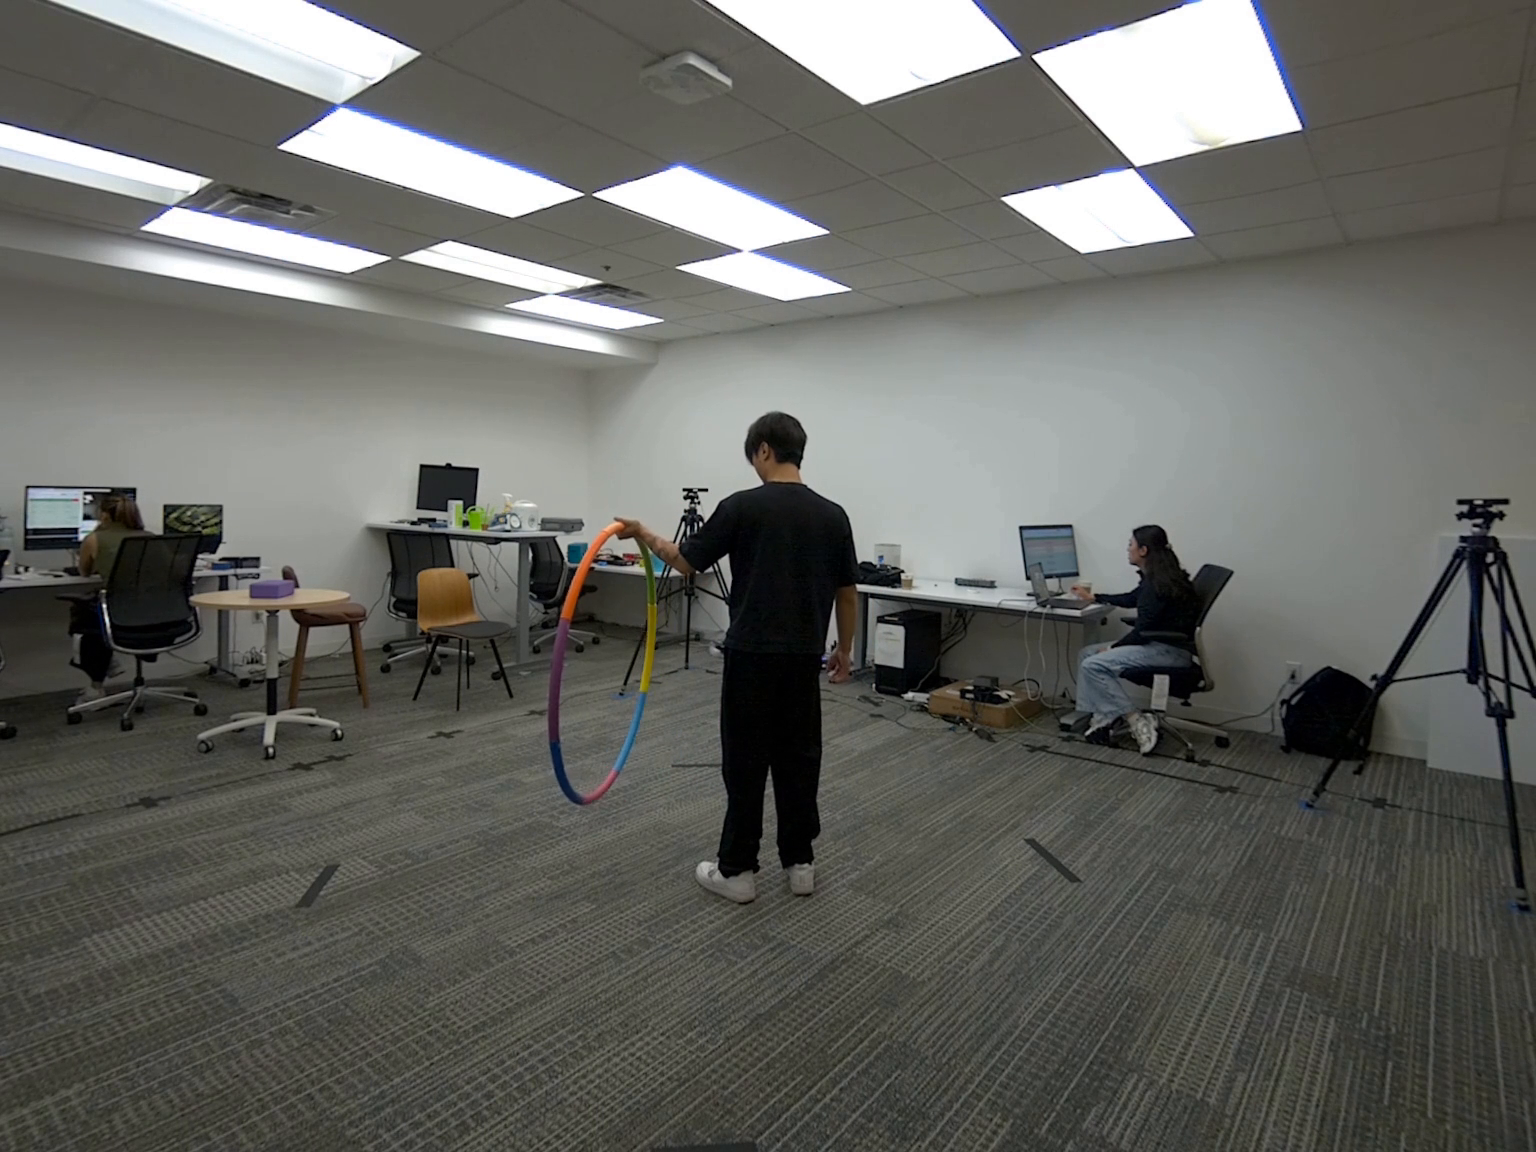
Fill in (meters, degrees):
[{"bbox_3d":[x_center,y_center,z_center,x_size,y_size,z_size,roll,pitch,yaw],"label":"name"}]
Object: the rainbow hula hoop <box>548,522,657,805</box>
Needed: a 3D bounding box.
[{"bbox_3d":[-0.565,0.300,3.032,0.036,0.975,0.968,5,5,11],"label":"rainbow hula hoop"}]
